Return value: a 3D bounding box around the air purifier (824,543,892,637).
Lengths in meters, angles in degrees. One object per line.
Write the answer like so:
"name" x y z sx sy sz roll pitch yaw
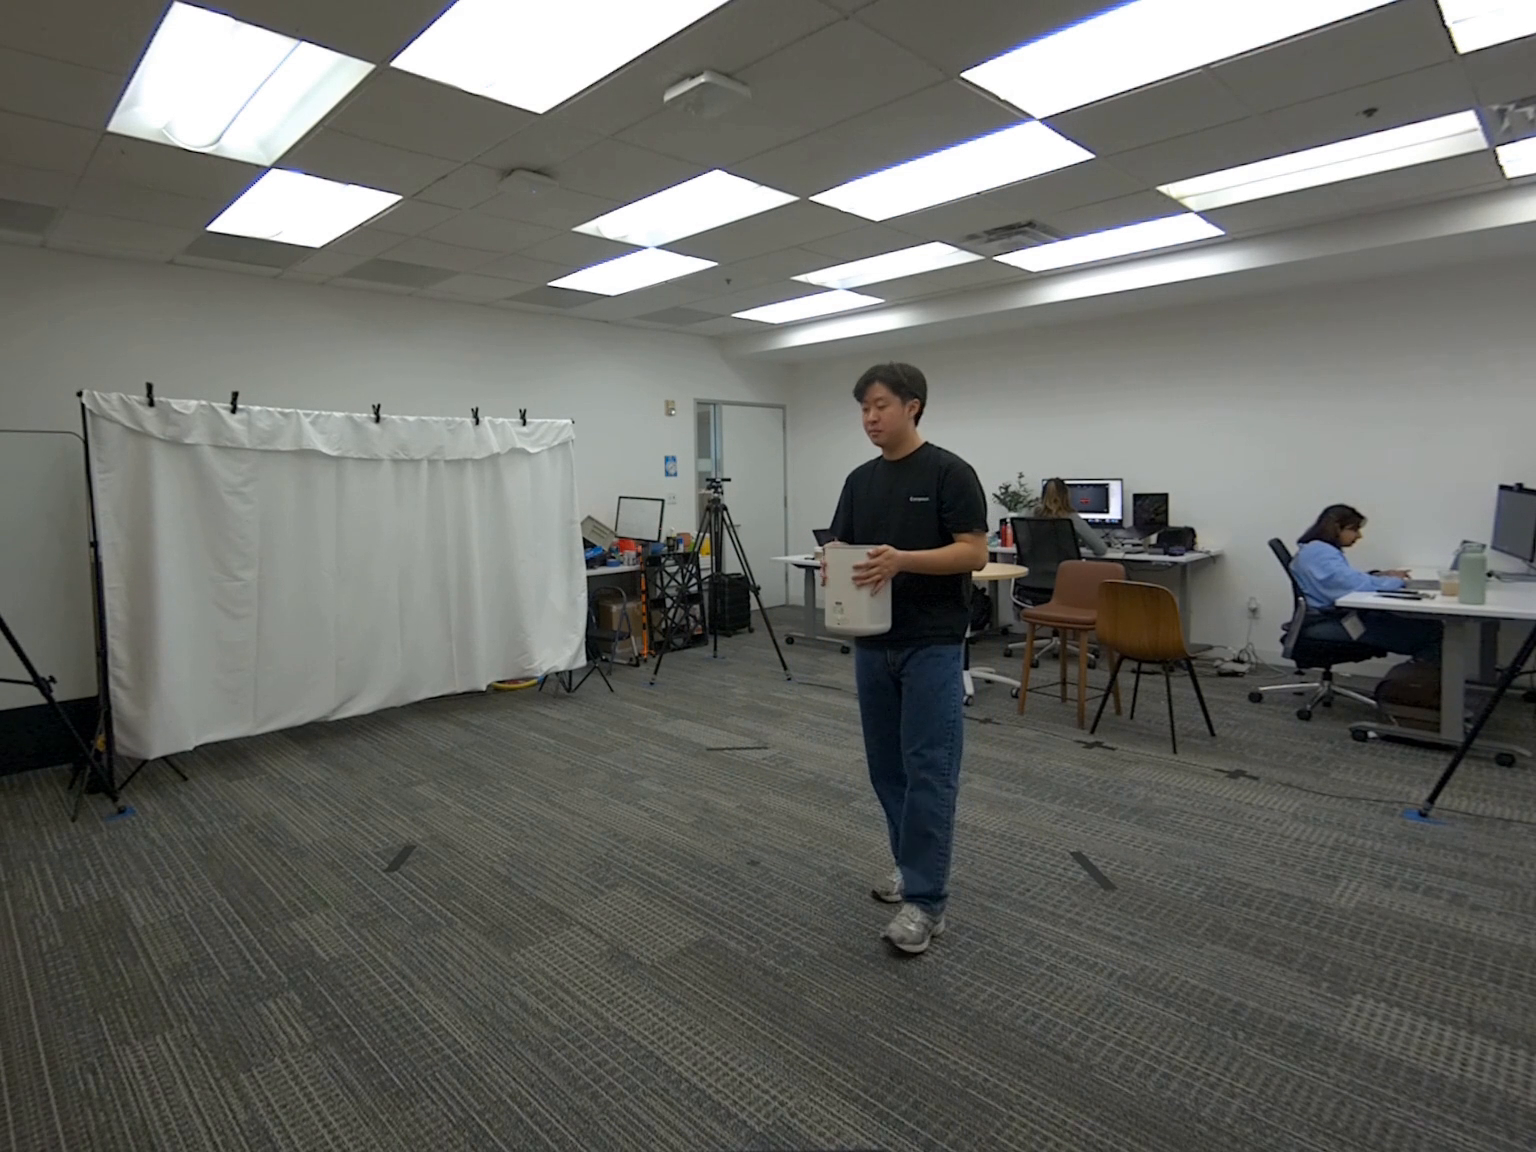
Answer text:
"air purifier" 0.265 0.040 2.603 0.166 0.265 0.176 0 2 -43
